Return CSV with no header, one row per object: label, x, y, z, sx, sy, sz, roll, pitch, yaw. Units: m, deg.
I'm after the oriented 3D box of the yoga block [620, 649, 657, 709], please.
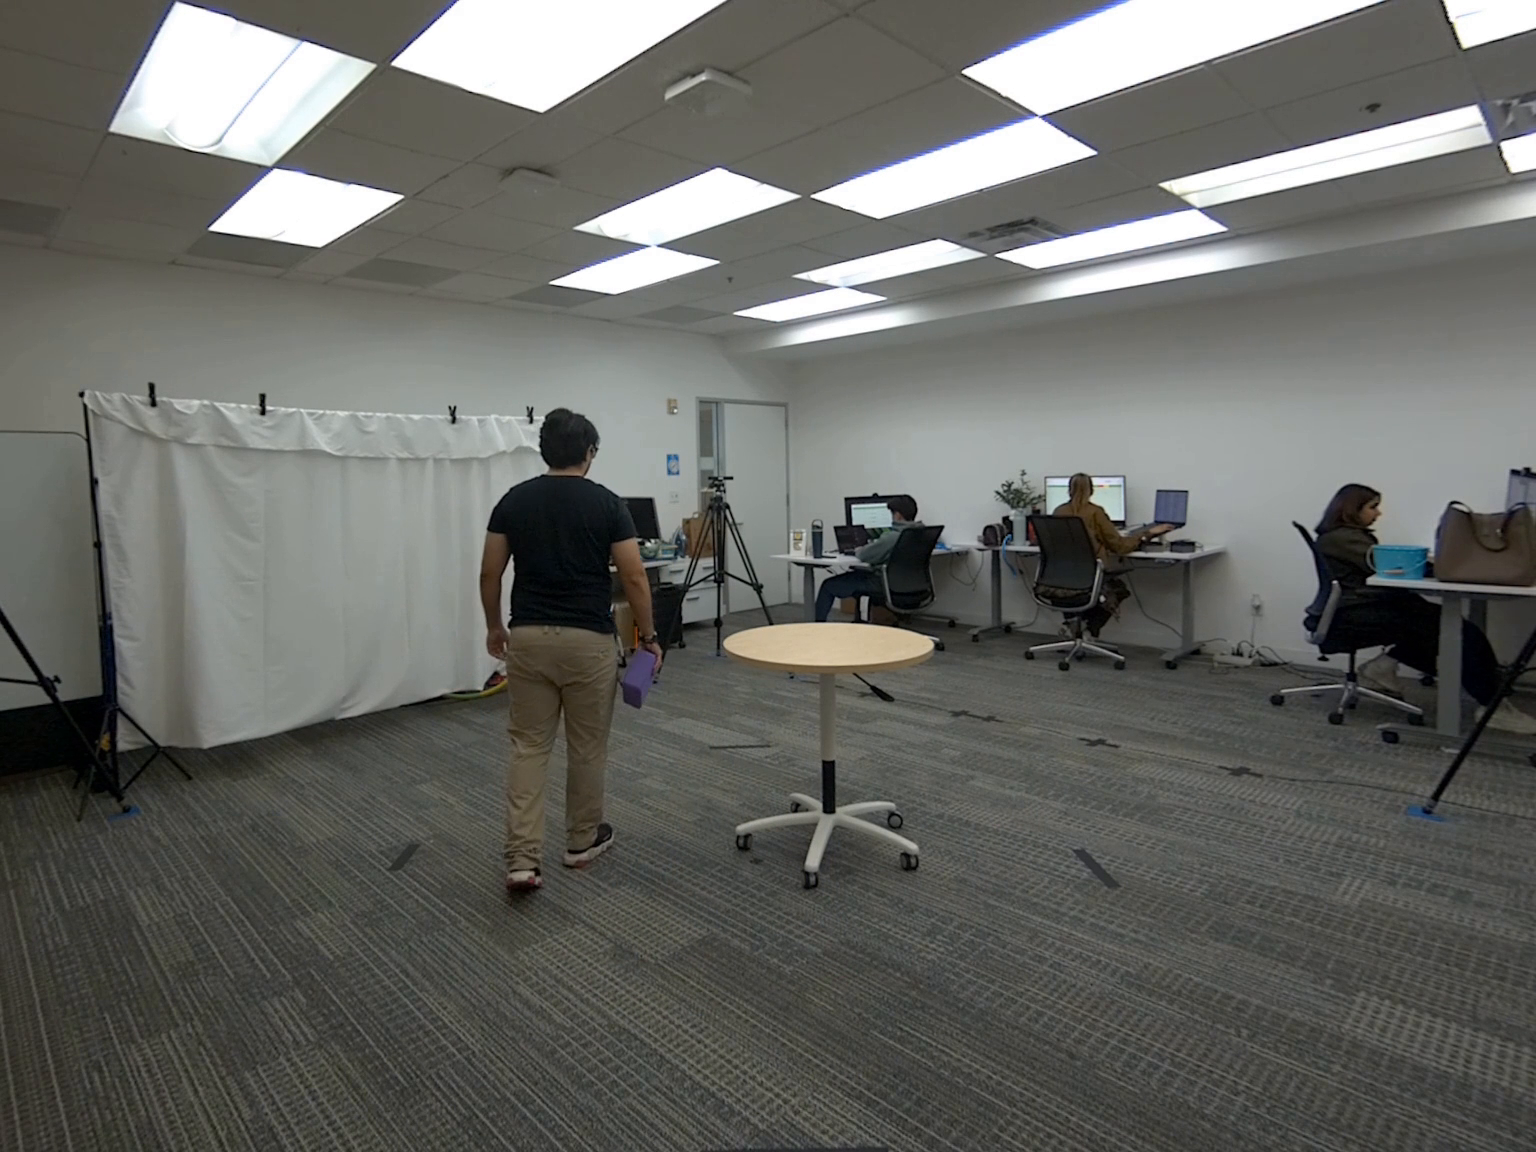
yoga block,-0.477,0.384,3.165,0.077,0.150,0.225,23,-29,3
